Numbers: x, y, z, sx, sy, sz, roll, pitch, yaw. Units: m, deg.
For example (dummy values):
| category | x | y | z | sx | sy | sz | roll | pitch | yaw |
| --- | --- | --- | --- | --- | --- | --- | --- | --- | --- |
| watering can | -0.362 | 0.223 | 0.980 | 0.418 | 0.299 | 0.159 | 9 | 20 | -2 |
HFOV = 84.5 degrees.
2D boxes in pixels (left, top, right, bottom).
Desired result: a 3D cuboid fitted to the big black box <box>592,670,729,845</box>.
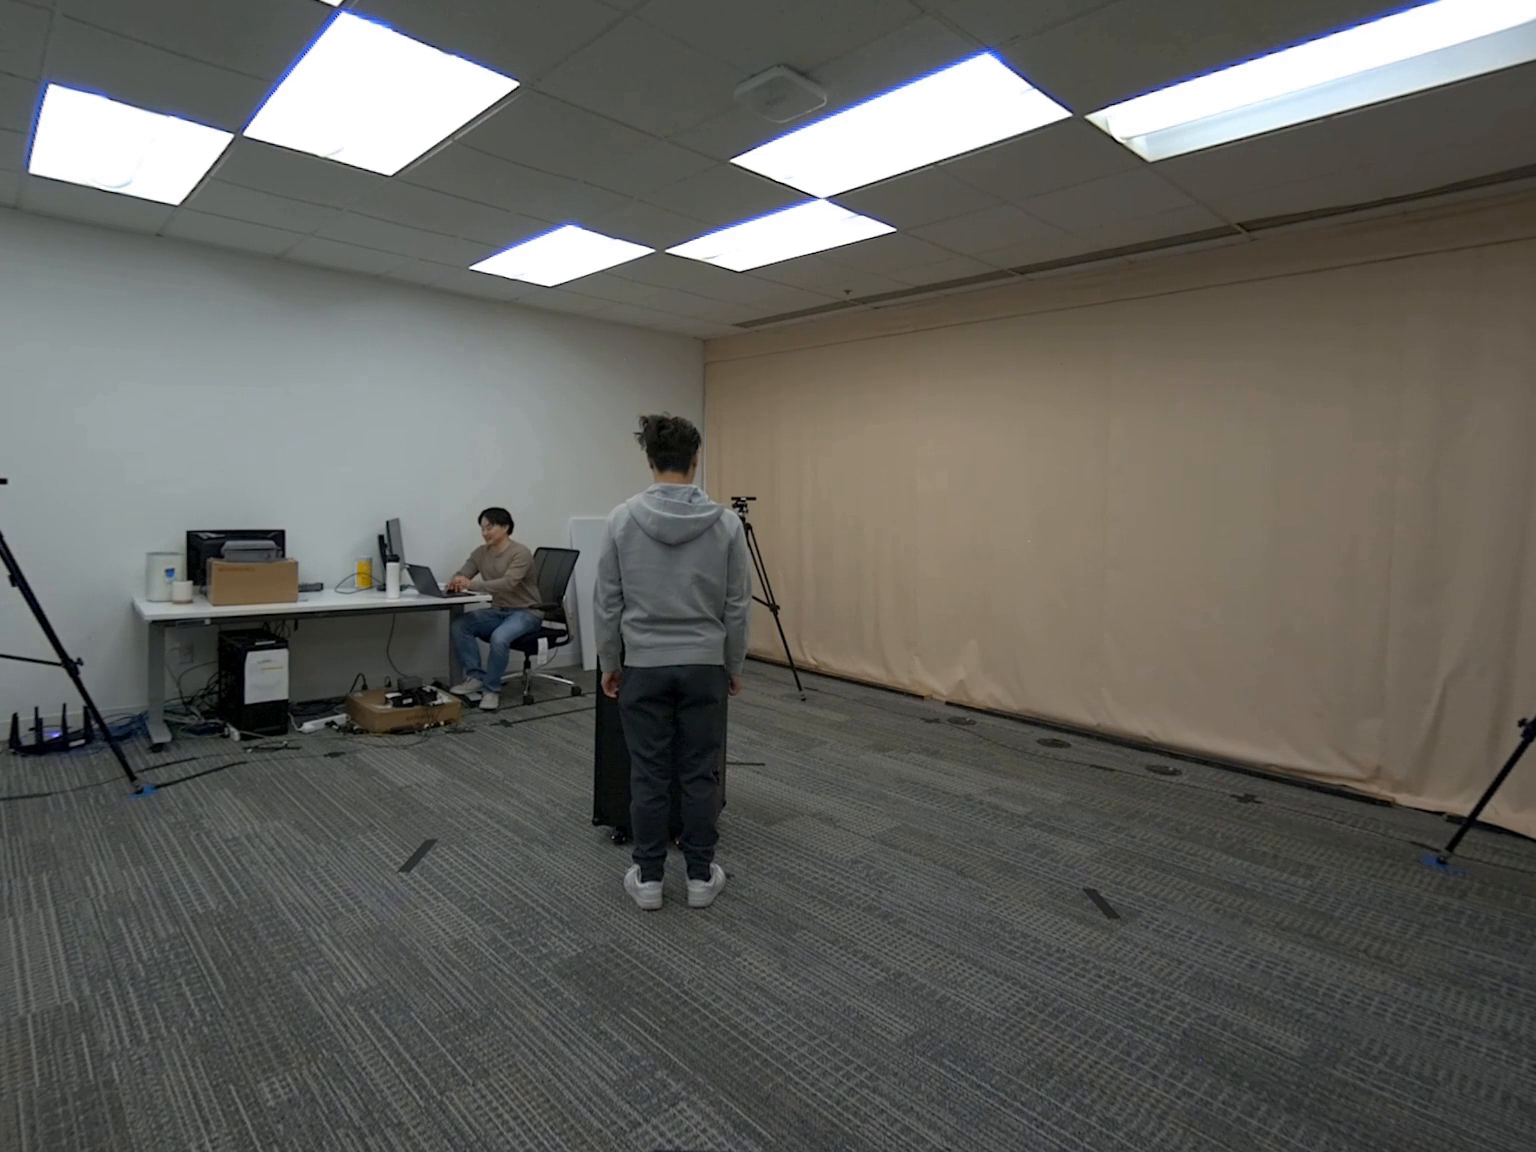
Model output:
| category | x | y | z | sx | sy | sz | roll | pitch | yaw |
| --- | --- | --- | --- | --- | --- | --- | --- | --- | --- |
| big black box | -0.441 | 0.641 | 3.506 | 0.525 | 0.860 | 0.393 | 2 | 2 | 9 |
